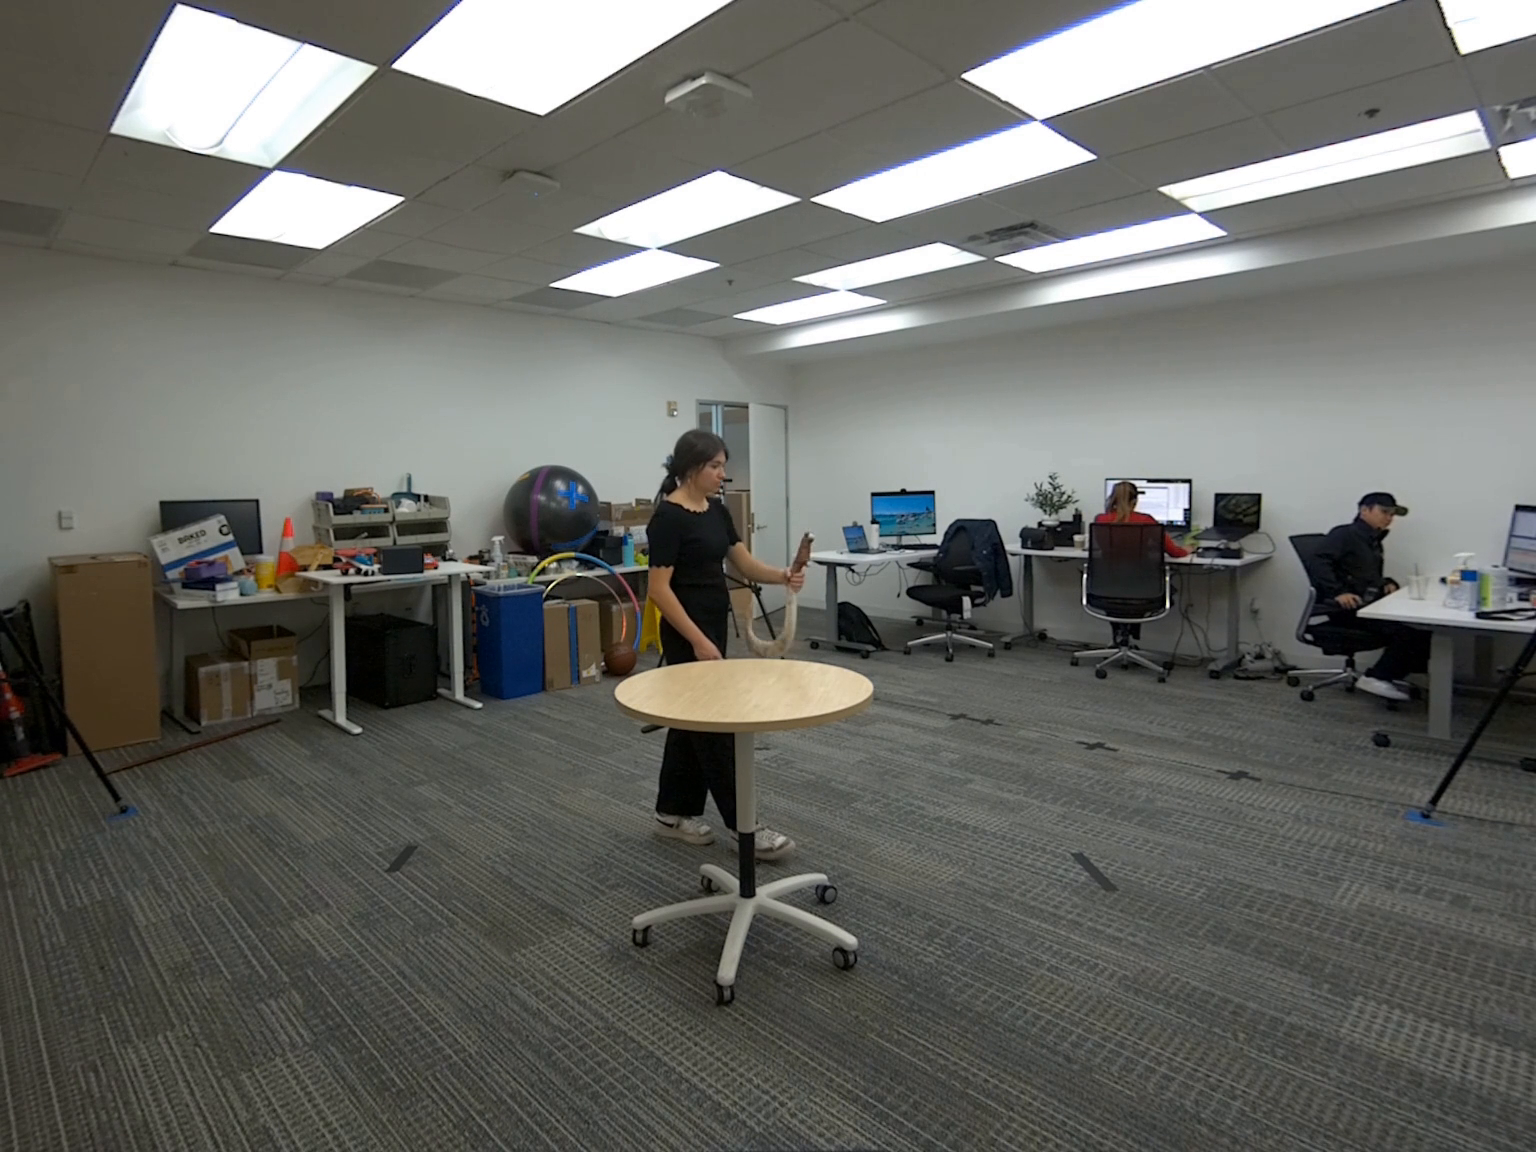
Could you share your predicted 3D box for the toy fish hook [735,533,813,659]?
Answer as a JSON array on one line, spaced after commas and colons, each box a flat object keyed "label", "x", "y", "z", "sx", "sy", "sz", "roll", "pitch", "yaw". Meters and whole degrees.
[{"label": "toy fish hook", "x": 0.042, "y": 0.057, "z": 3.181, "sx": 0.232, "sy": 0.505, "sz": 0.047, "roll": 20, "pitch": 6, "yaw": 30}]
